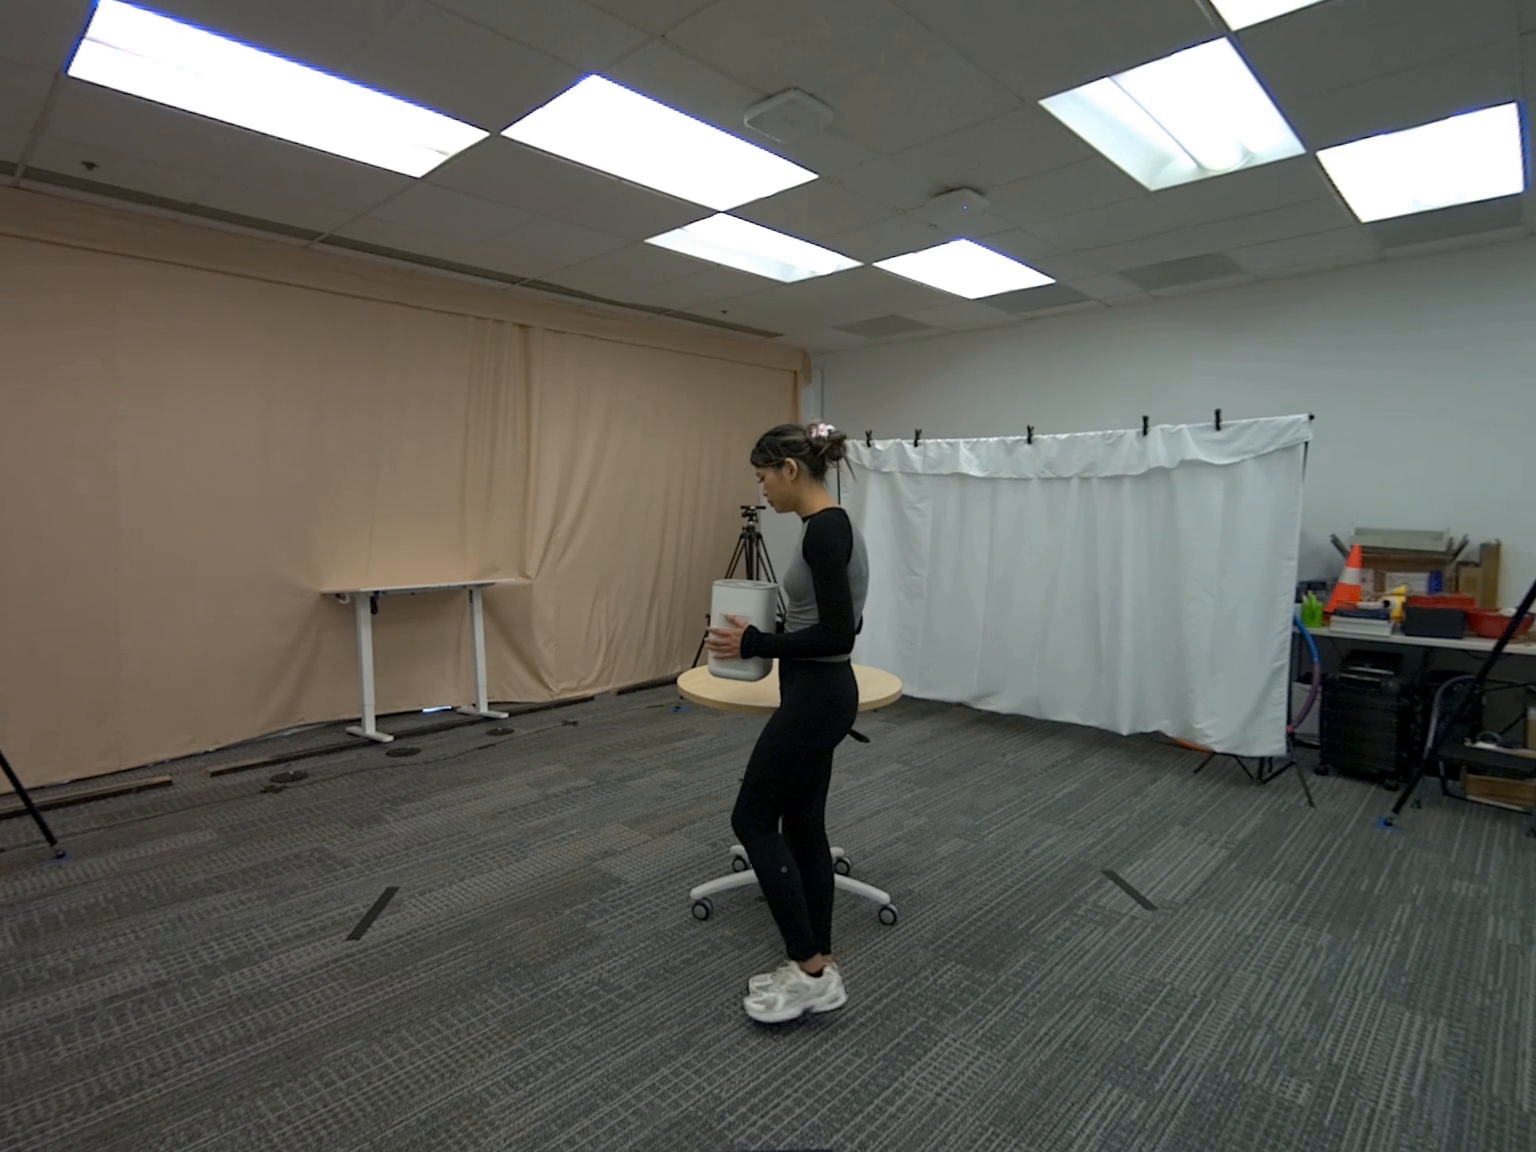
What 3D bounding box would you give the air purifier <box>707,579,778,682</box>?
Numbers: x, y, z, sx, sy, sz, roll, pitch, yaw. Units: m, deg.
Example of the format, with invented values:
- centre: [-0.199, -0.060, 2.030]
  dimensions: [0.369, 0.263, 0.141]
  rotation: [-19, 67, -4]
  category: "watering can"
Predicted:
- centre: [-0.059, 0.156, 2.364]
  dimensions: [0.172, 0.265, 0.171]
  rotation: [4, 5, 6]
  category: "air purifier"
